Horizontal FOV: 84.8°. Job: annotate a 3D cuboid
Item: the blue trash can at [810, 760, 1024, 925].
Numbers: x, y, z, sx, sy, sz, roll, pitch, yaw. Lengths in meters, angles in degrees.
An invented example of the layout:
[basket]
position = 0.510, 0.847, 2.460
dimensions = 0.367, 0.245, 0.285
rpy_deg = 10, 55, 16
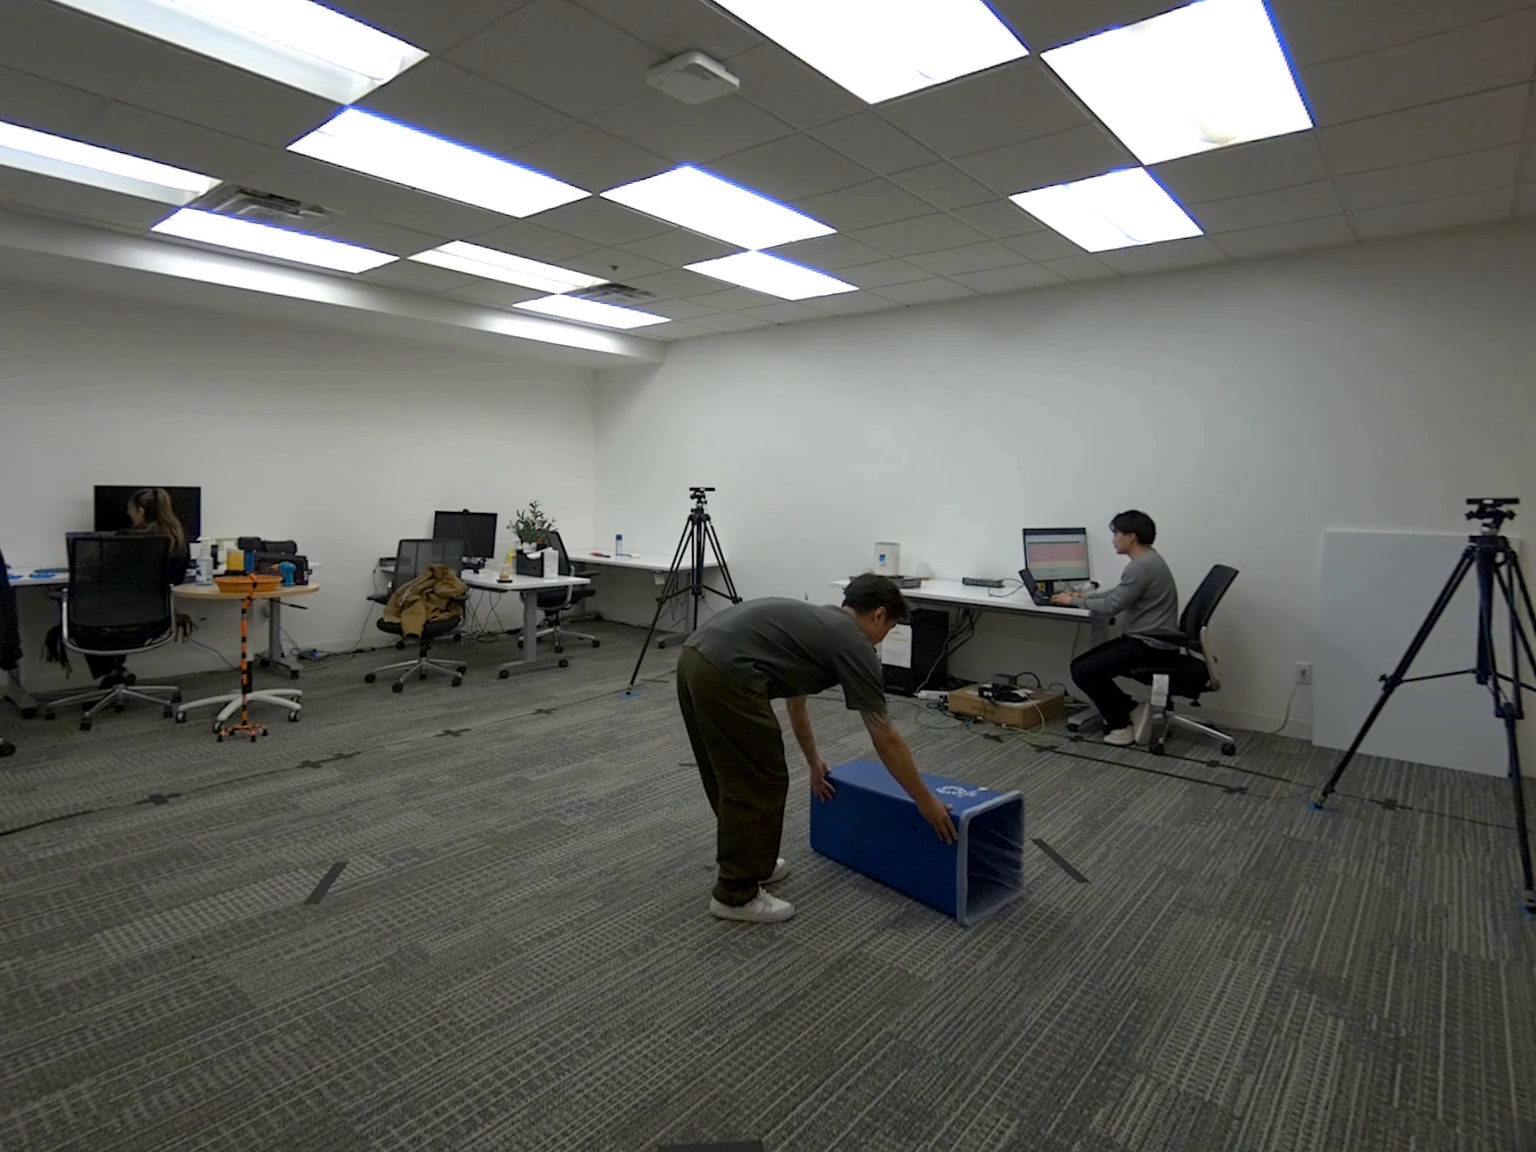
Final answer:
[blue trash can]
position = 0.511, 0.912, 3.104
dimensions = 0.366, 0.373, 0.737
rpy_deg = -2, 5, -42
